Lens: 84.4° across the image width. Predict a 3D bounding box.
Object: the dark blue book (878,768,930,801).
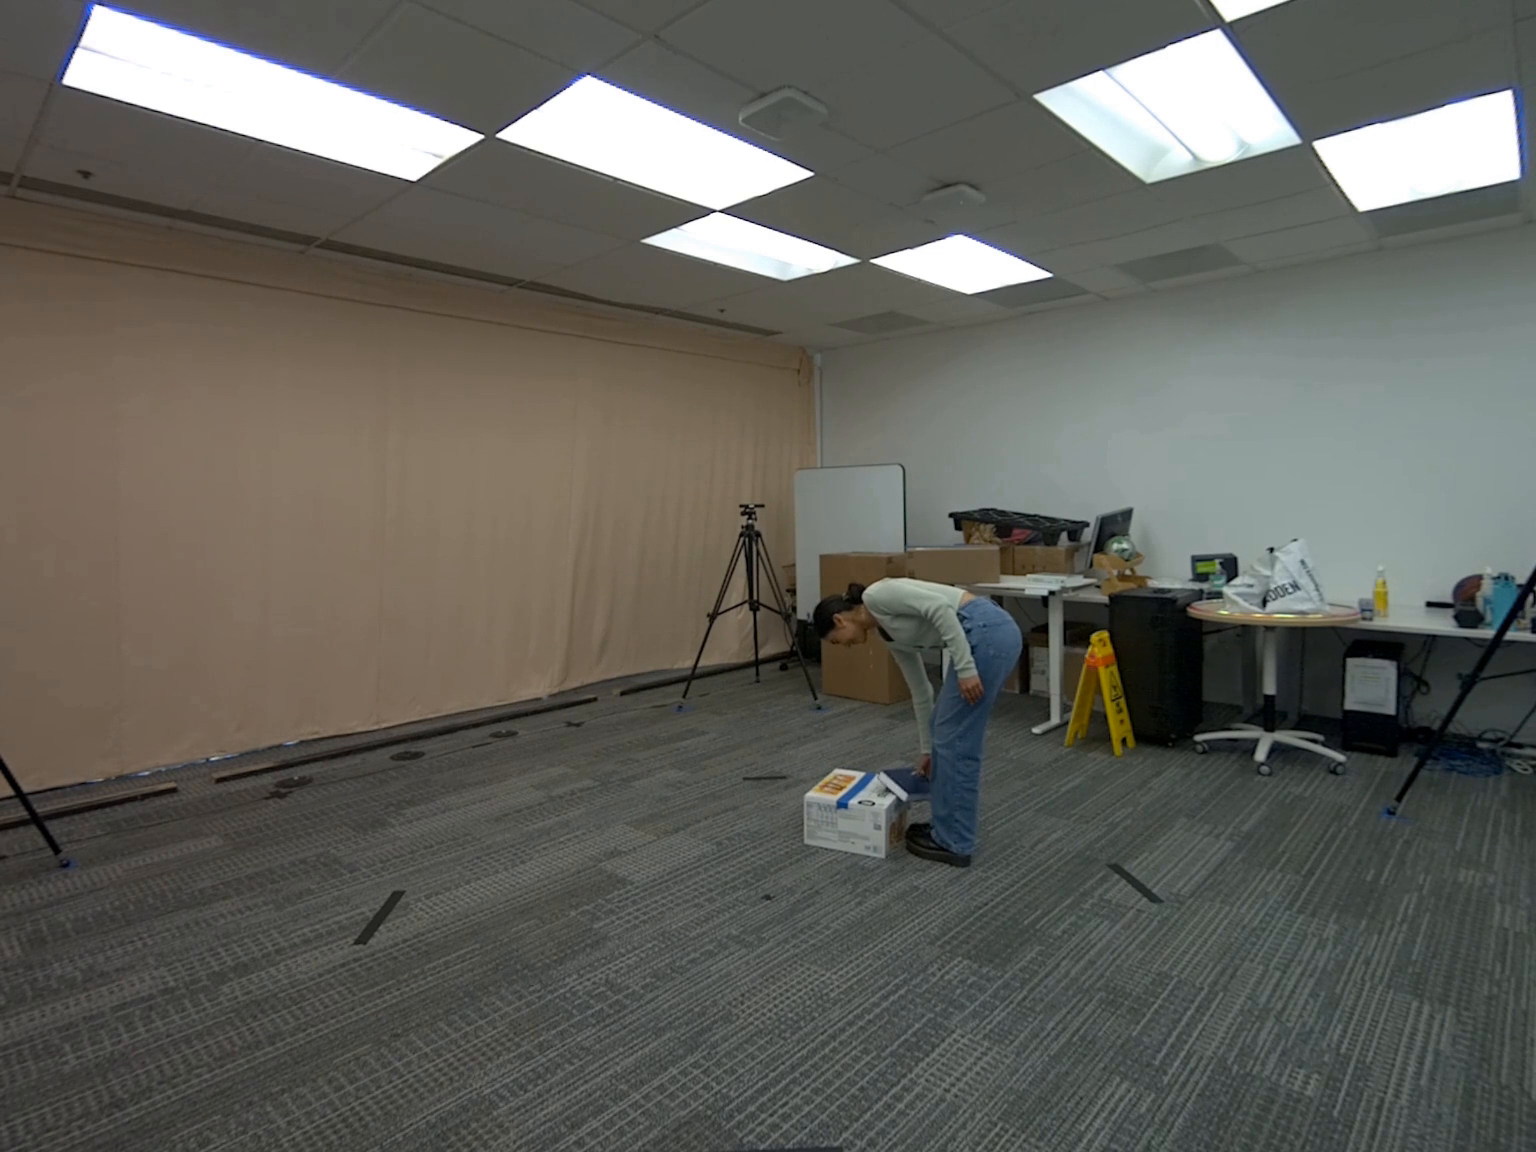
[{"bbox_3d":[0.602,0.887,3.516,0.237,0.045,0.169,10,20,-42],"label":"dark blue book"}]
